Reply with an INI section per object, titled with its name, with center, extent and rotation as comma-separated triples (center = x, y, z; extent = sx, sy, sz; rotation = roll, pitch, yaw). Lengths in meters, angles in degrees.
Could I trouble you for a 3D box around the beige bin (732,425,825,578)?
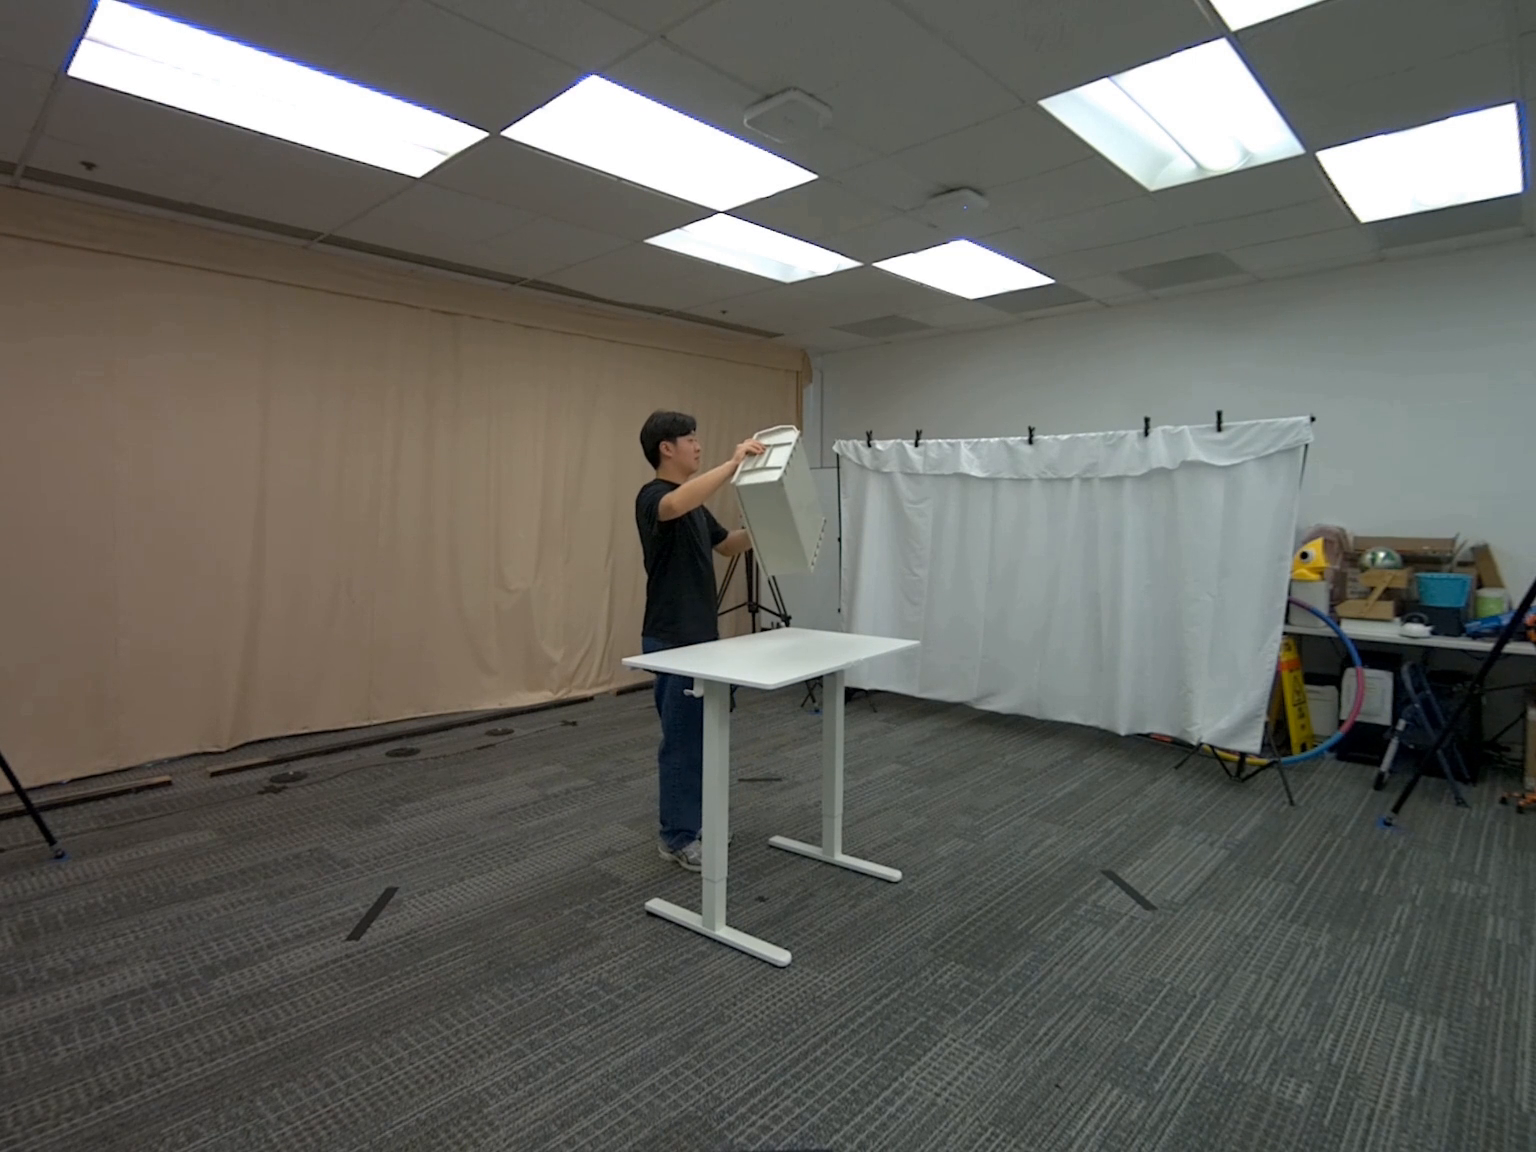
[beige bin]
center = 0.048, -0.265, 3.035
extent = 0.193, 0.412, 0.379
rotation = -5, 35, 19
